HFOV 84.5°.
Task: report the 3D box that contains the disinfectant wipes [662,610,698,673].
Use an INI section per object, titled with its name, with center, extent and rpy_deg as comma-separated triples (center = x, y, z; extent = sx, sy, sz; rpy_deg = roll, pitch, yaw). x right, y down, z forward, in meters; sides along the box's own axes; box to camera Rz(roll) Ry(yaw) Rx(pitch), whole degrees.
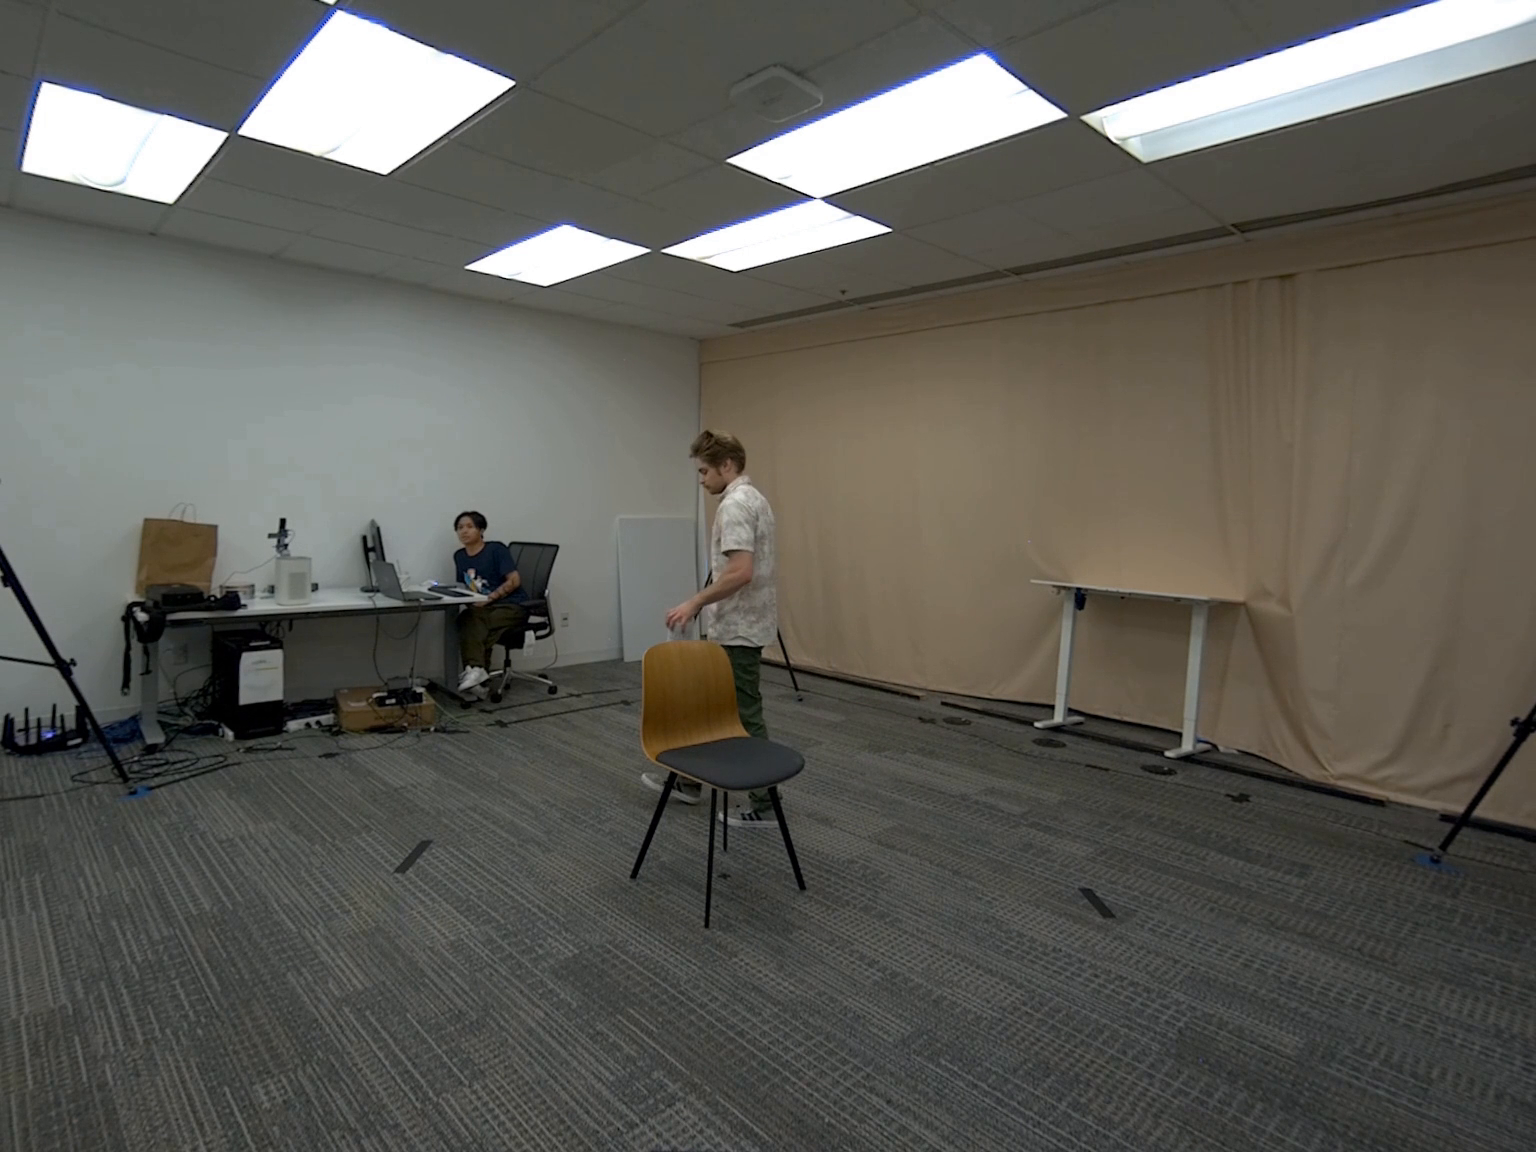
[disinfectant wipes]
center = -0.368, 0.269, 3.519
extent = 0.117, 0.214, 0.120
rpy_deg = 6, 24, -4
